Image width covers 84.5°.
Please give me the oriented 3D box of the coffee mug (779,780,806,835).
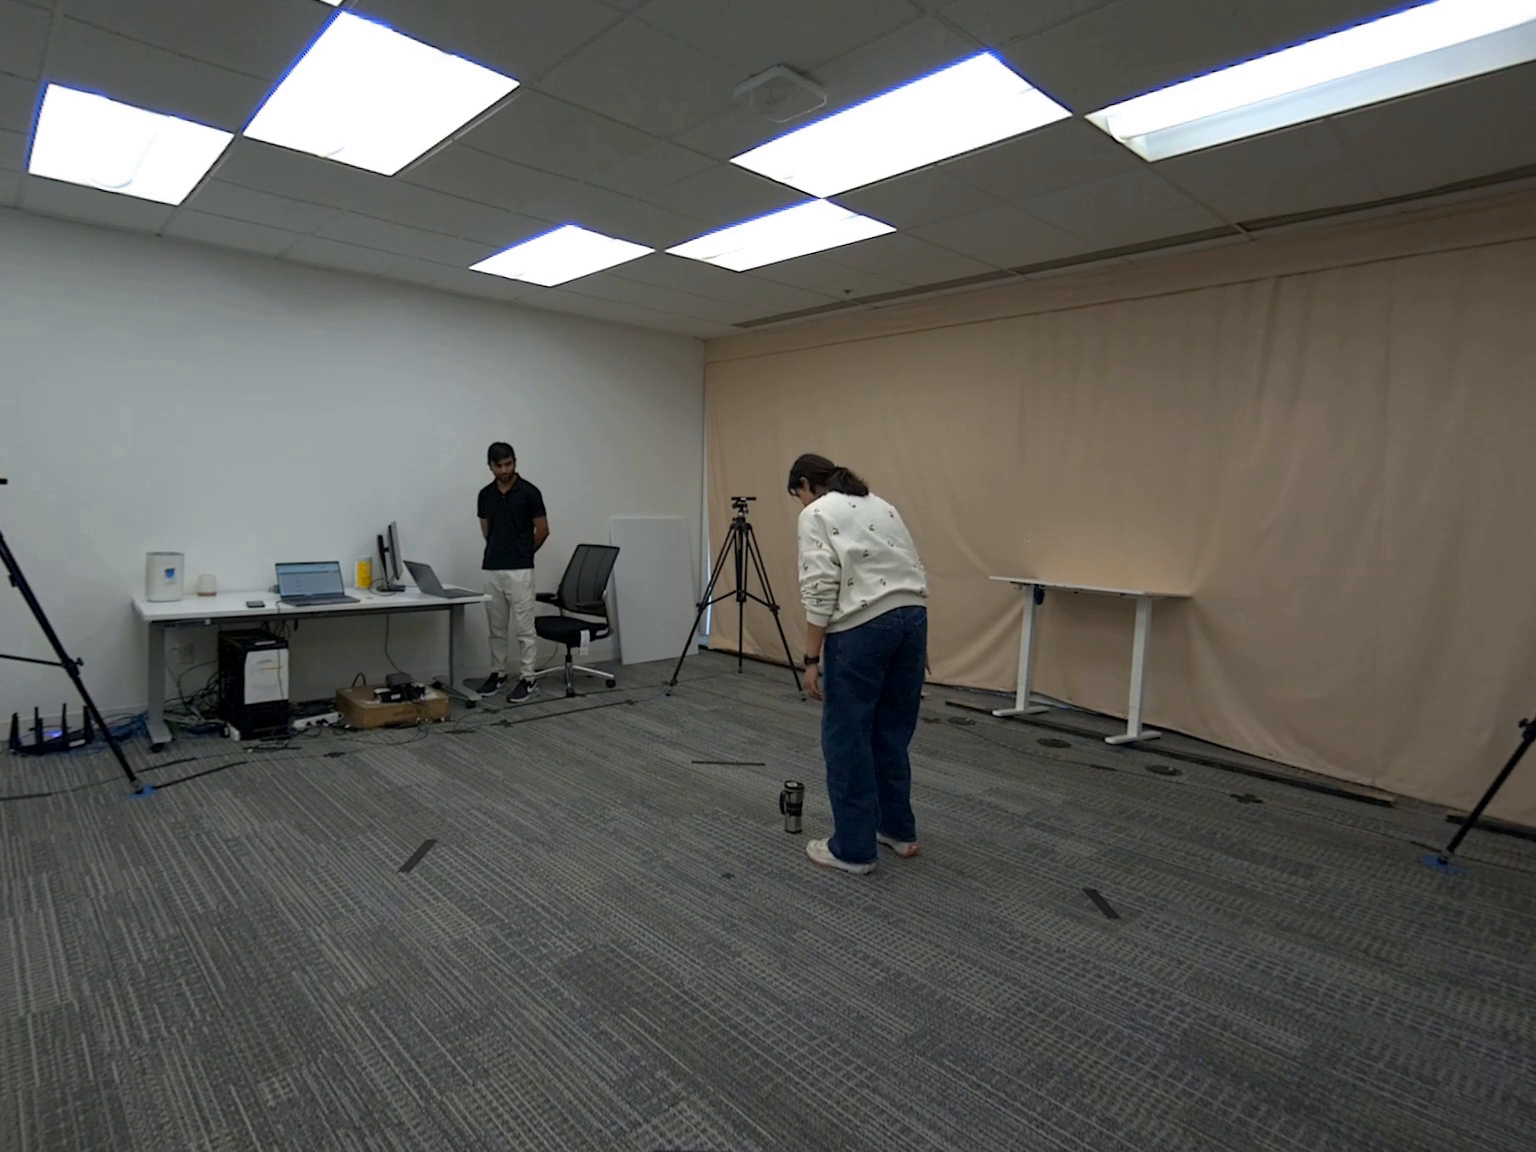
[{"bbox_3d":[0.084,0.969,3.537,0.119,0.202,0.090,2,5,-27],"label":"coffee mug"}]
